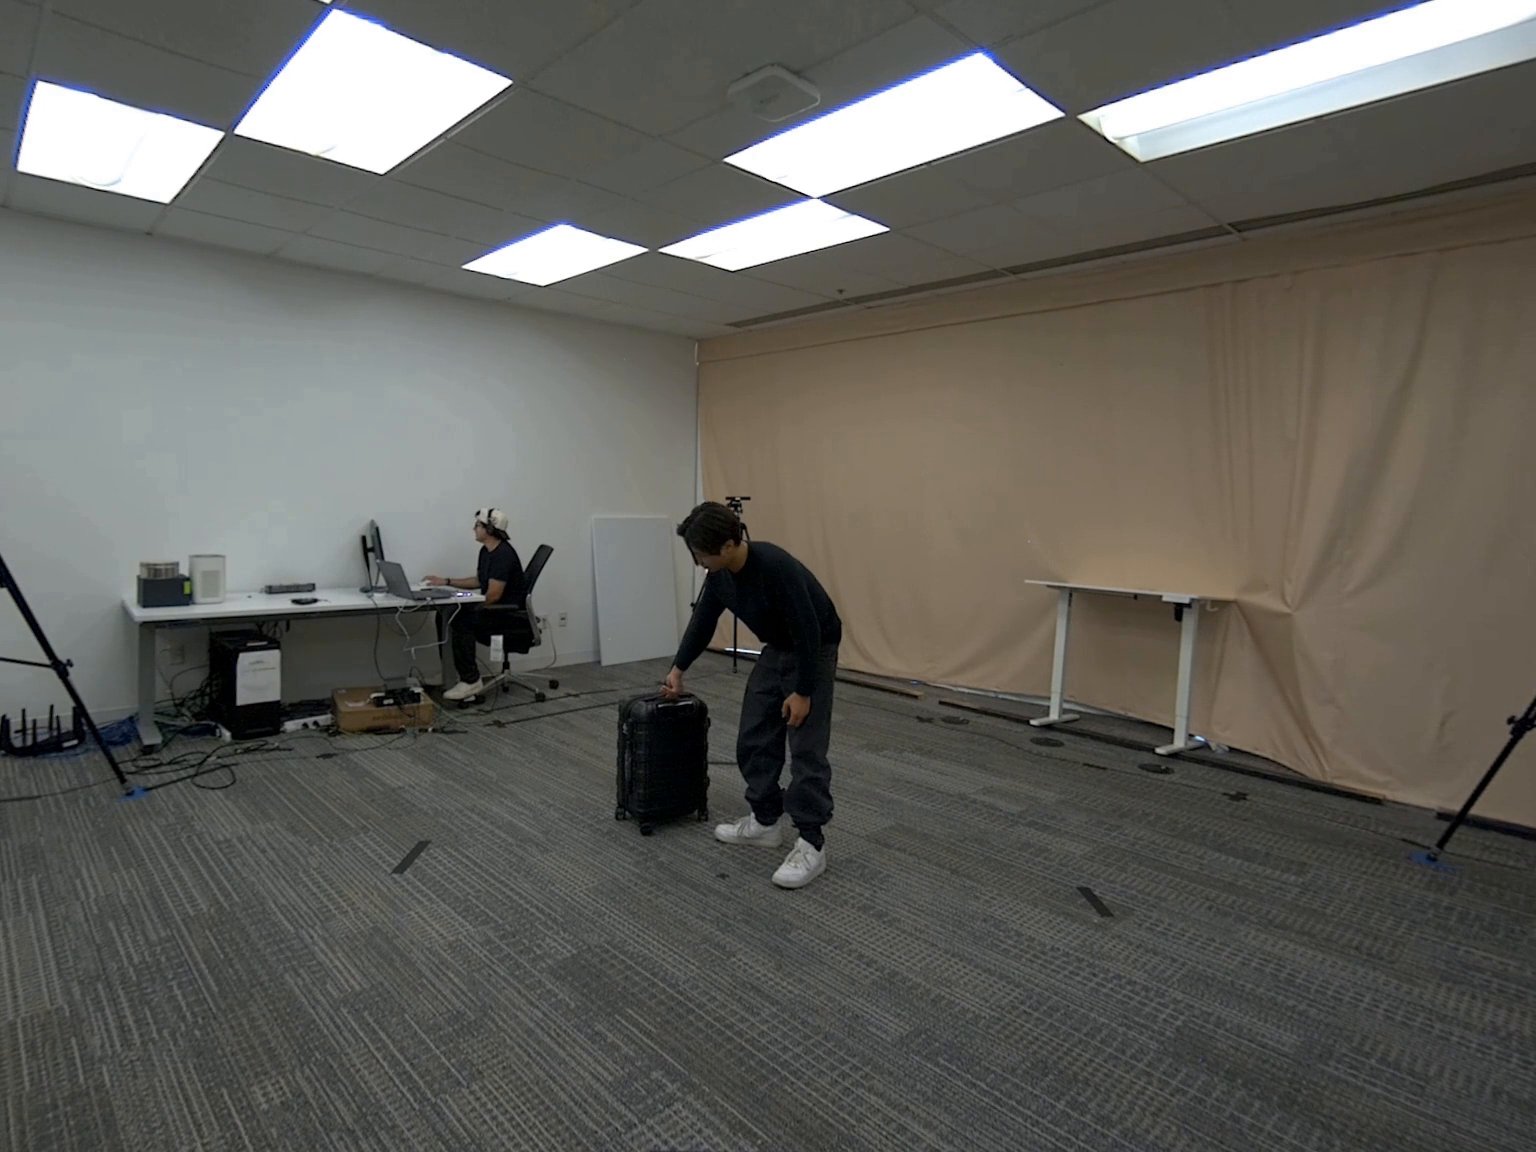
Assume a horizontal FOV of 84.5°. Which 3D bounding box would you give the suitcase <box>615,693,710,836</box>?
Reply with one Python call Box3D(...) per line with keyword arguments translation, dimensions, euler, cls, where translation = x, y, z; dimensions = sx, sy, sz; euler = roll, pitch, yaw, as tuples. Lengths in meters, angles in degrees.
Box3D(translation=(-0.468, 0.774, 3.633), dimensions=(0.367, 0.548, 0.254), euler=(-1, 4, -32), cls="suitcase")
